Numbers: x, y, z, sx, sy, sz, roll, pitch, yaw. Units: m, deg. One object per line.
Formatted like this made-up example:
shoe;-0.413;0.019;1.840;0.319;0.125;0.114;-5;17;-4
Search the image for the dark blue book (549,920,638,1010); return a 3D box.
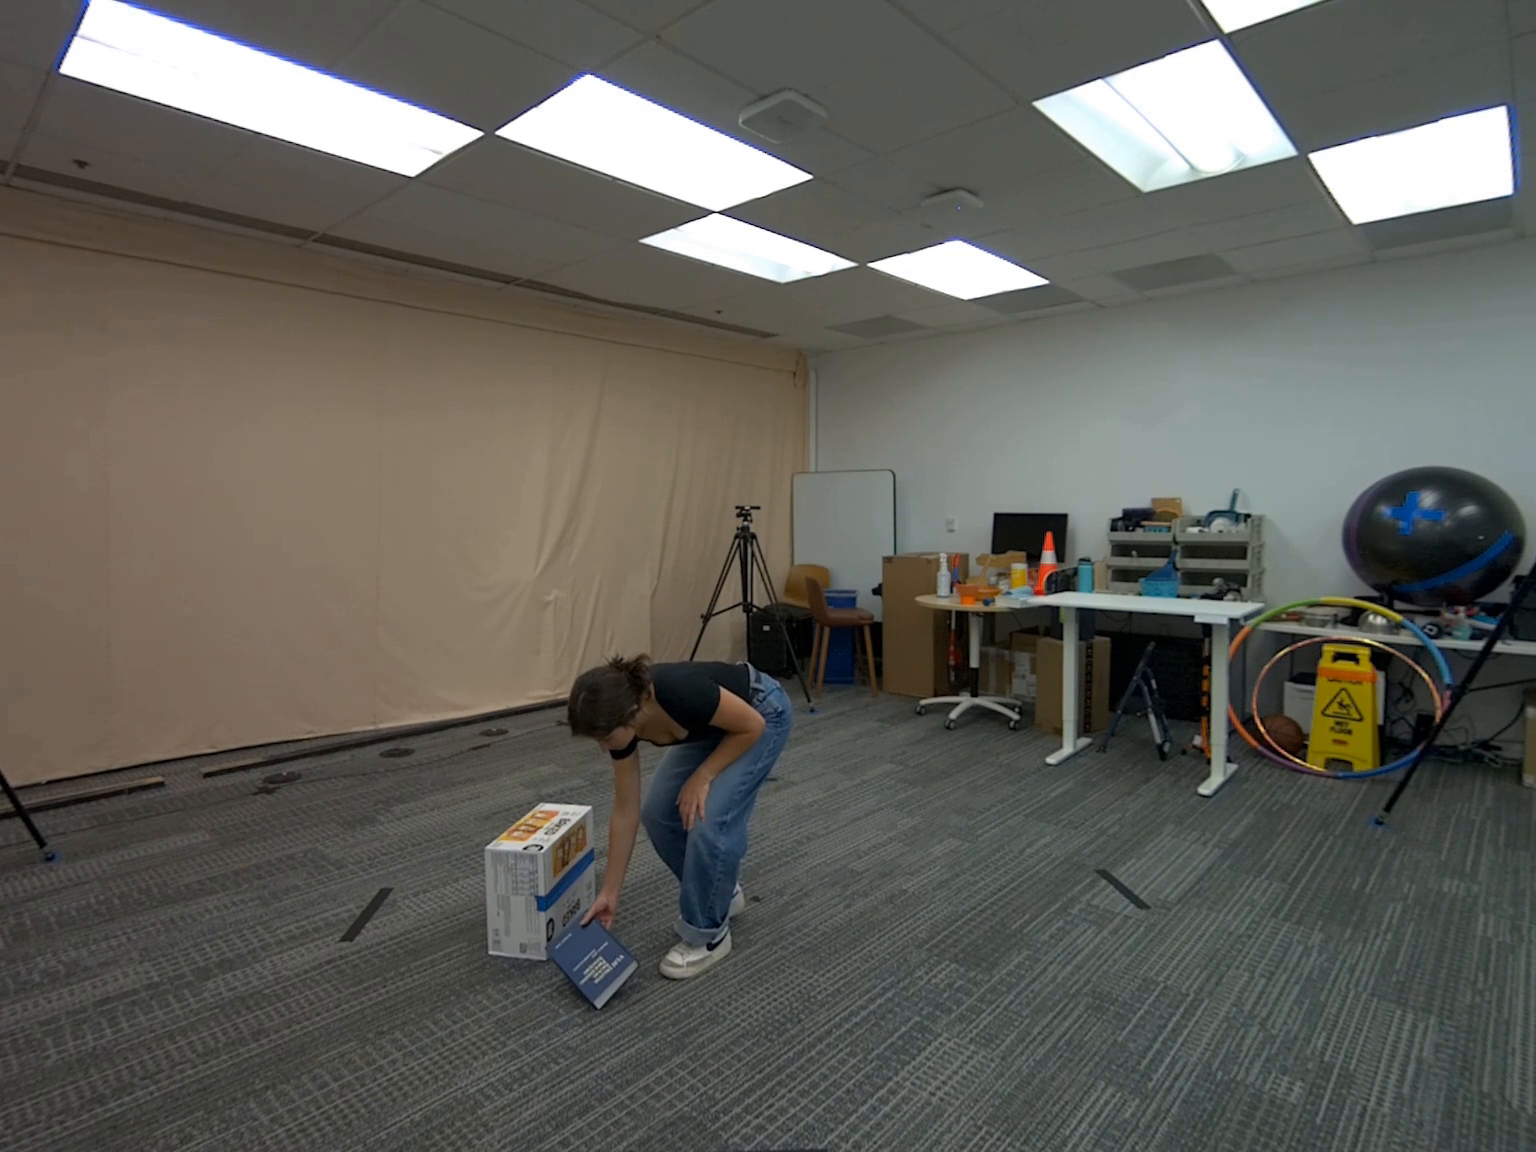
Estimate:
dark blue book;-0.507;1.106;2.424;0.254;0.044;0.161;22;51;40
